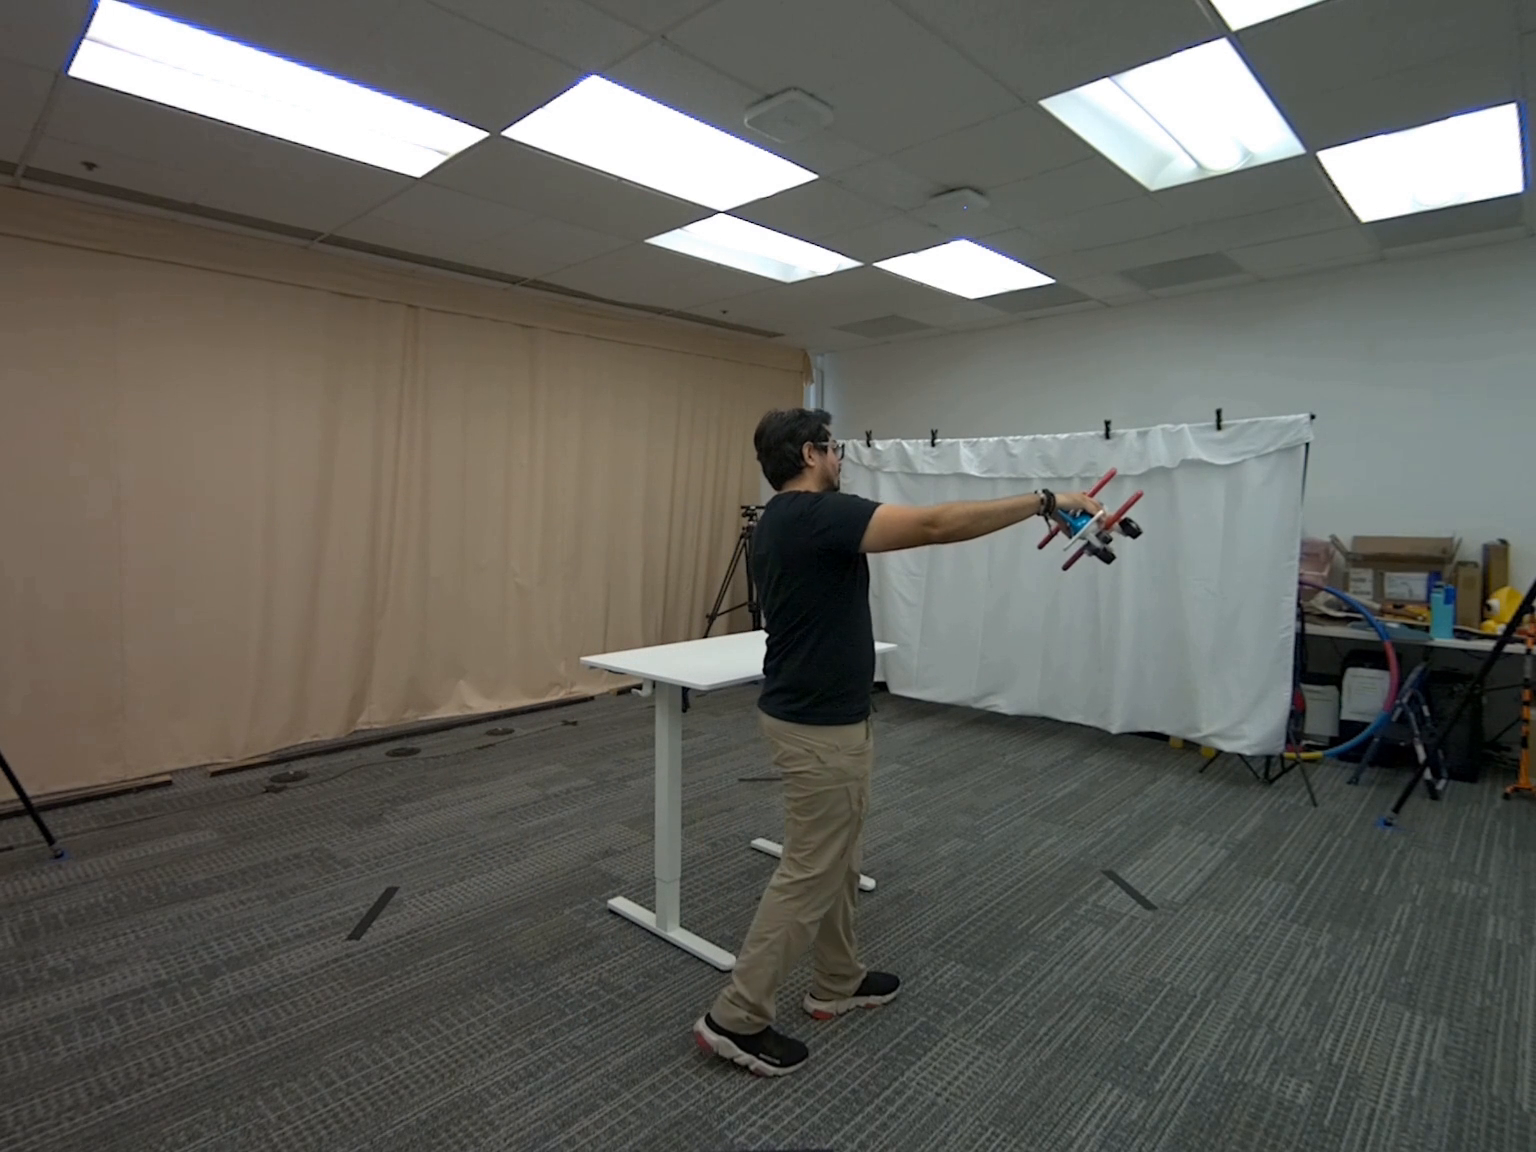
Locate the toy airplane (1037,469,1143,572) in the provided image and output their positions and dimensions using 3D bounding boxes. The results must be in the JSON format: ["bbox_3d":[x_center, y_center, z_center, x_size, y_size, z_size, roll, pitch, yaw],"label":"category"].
[{"bbox_3d":[0.787,-0.129,1.965,0.251,0.161,0.252,-40,-25,0],"label":"toy airplane"}]
